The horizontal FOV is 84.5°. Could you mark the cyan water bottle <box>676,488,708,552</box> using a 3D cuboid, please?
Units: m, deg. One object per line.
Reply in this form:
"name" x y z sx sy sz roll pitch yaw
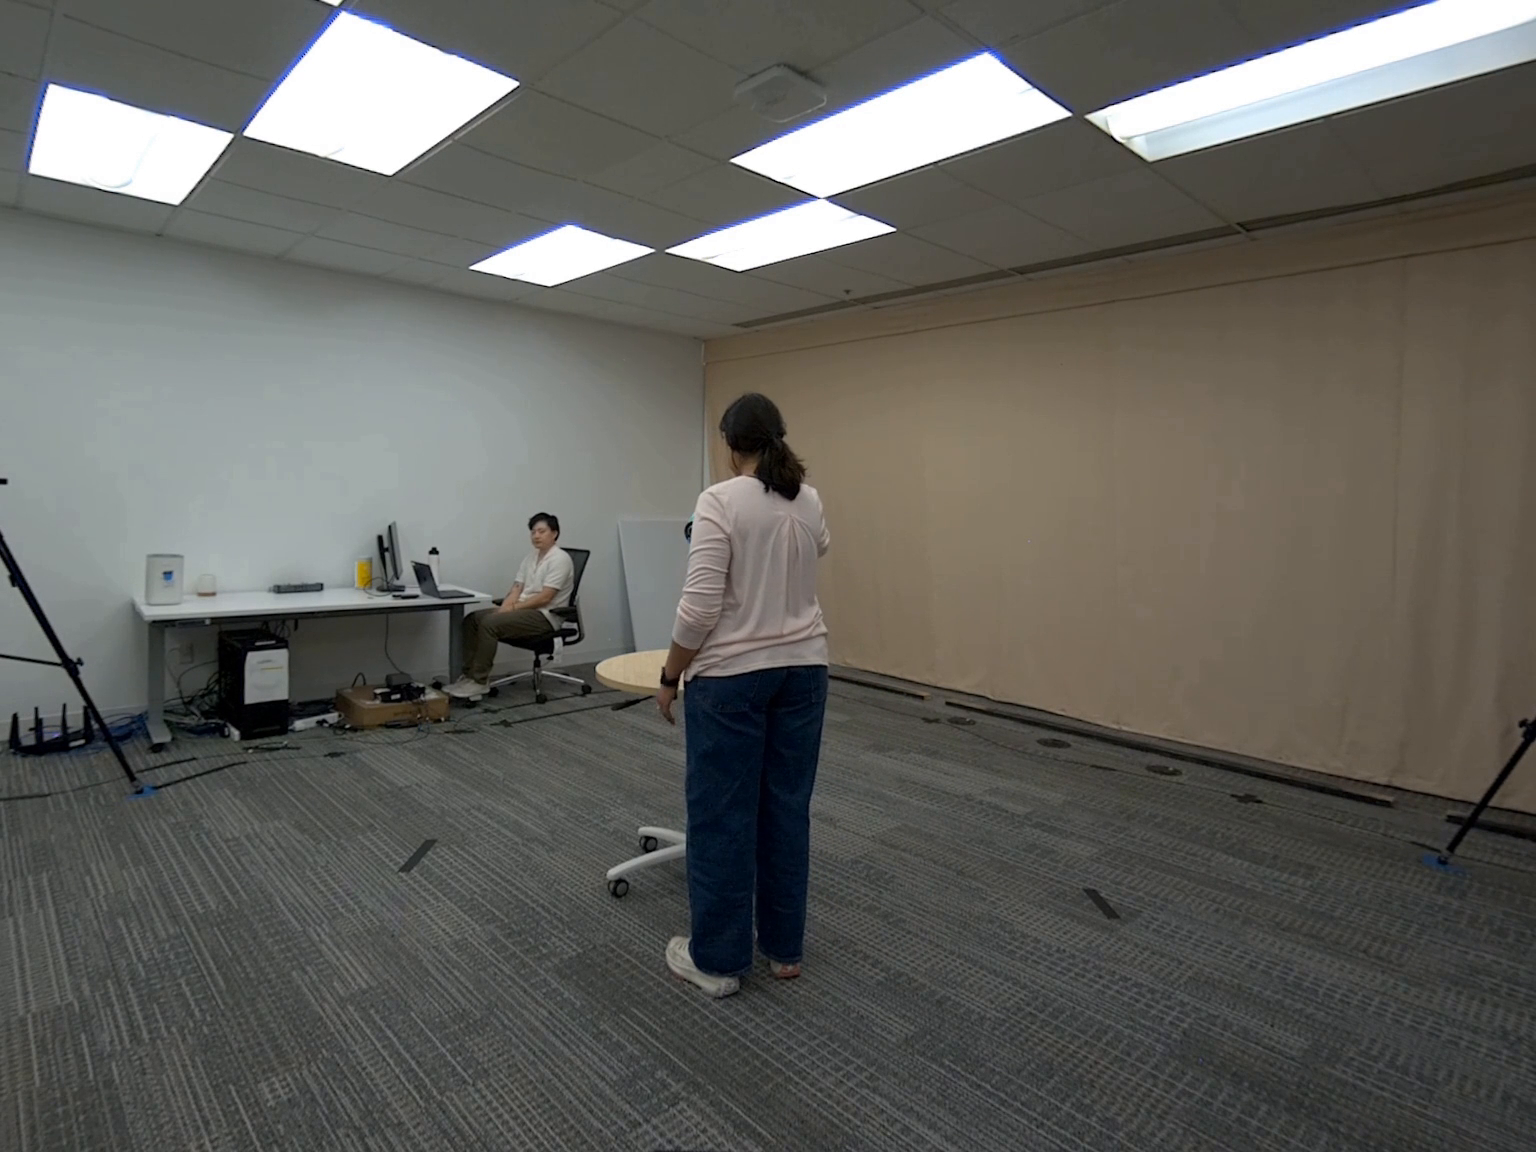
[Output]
"cyan water bottle" -0.207 -0.192 2.836 0.094 0.090 0.285 2 31 18
